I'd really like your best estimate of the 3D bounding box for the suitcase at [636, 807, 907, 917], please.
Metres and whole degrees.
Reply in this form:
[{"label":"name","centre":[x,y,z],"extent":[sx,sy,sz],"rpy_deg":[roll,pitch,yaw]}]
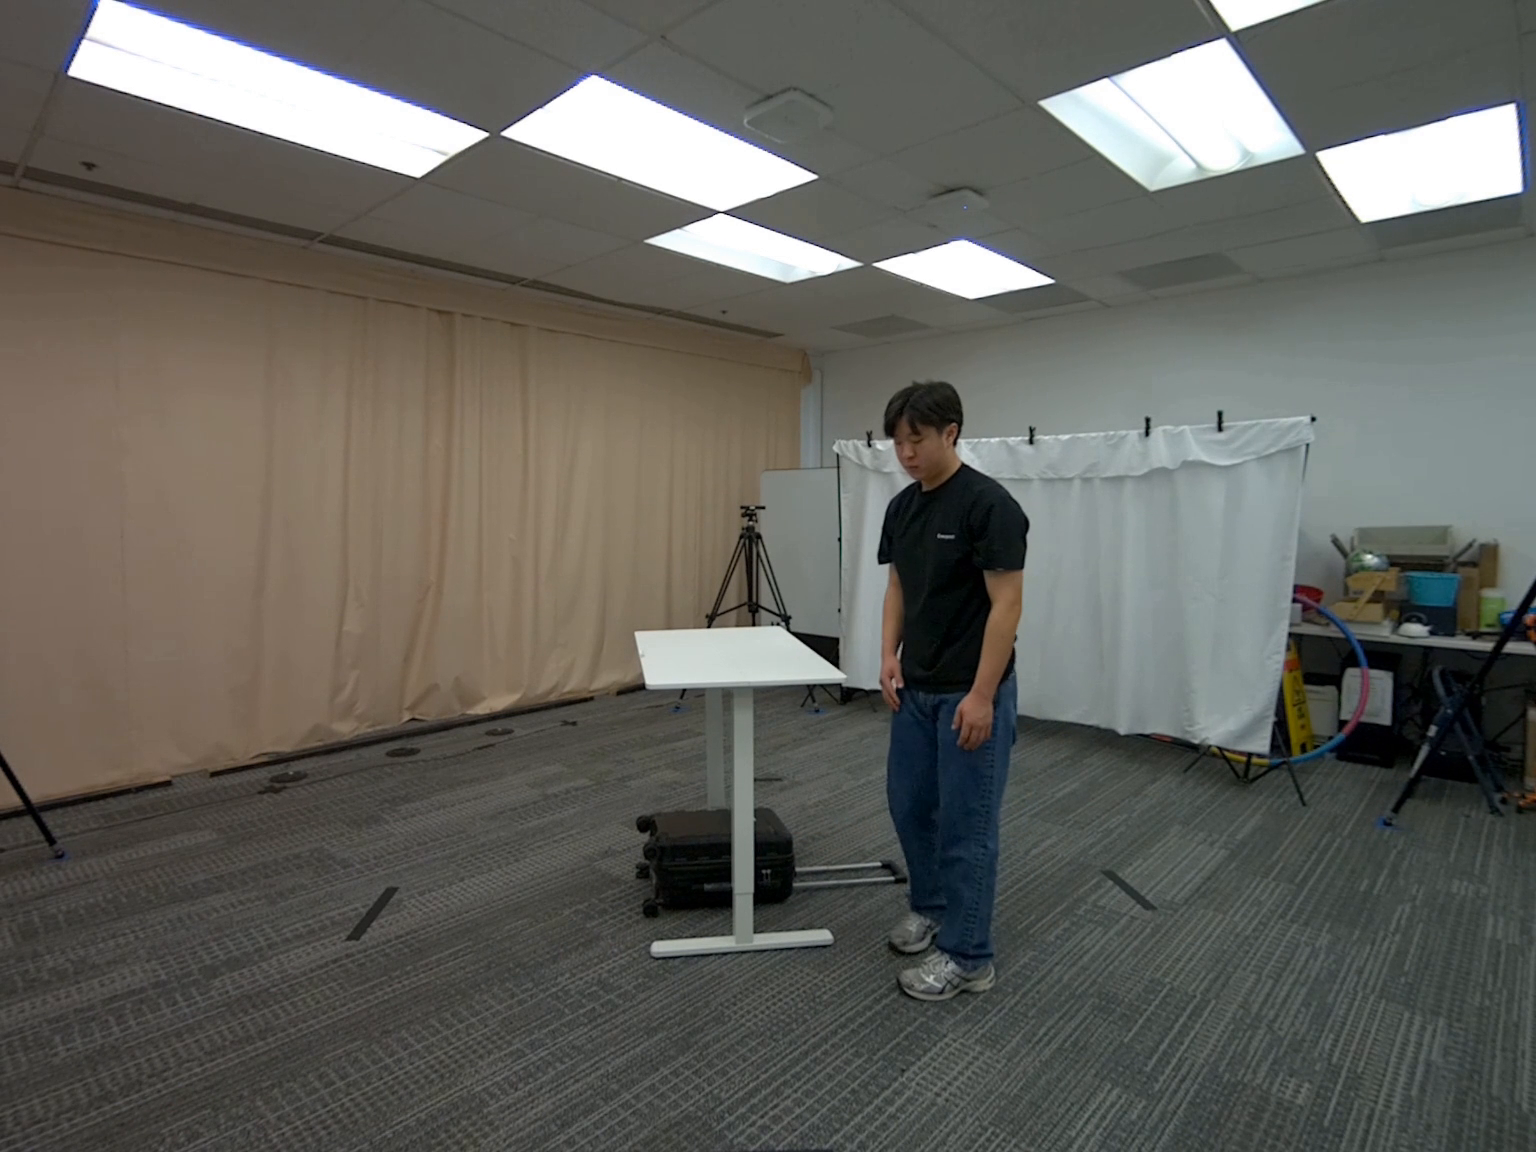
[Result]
[{"label":"suitcase","centre":[0.019,1.006,3.082],"extent":[0.969,0.257,0.388],"rpy_deg":[-1,3,-10]}]
